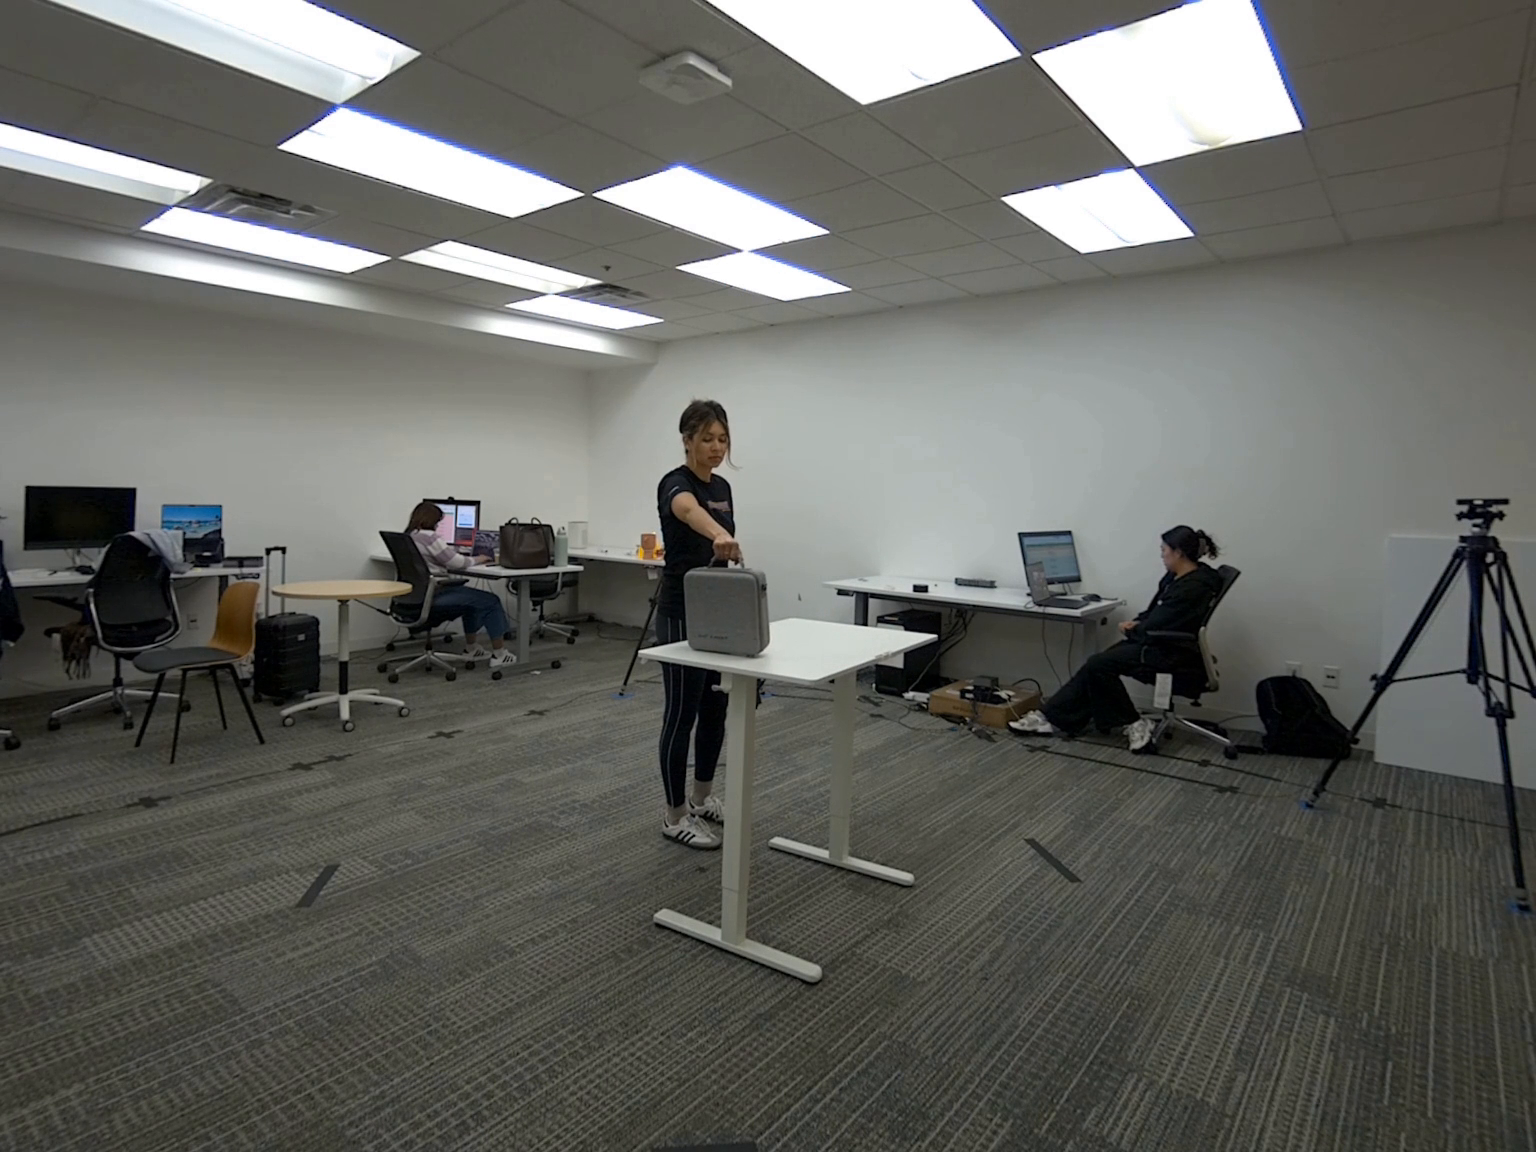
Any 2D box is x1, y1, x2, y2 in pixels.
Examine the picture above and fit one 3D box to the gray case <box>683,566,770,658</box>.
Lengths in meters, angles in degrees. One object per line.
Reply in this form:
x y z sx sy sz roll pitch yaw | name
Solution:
-0.135 0.098 2.603 0.264 0.258 0.102 3 9 28 | gray case
